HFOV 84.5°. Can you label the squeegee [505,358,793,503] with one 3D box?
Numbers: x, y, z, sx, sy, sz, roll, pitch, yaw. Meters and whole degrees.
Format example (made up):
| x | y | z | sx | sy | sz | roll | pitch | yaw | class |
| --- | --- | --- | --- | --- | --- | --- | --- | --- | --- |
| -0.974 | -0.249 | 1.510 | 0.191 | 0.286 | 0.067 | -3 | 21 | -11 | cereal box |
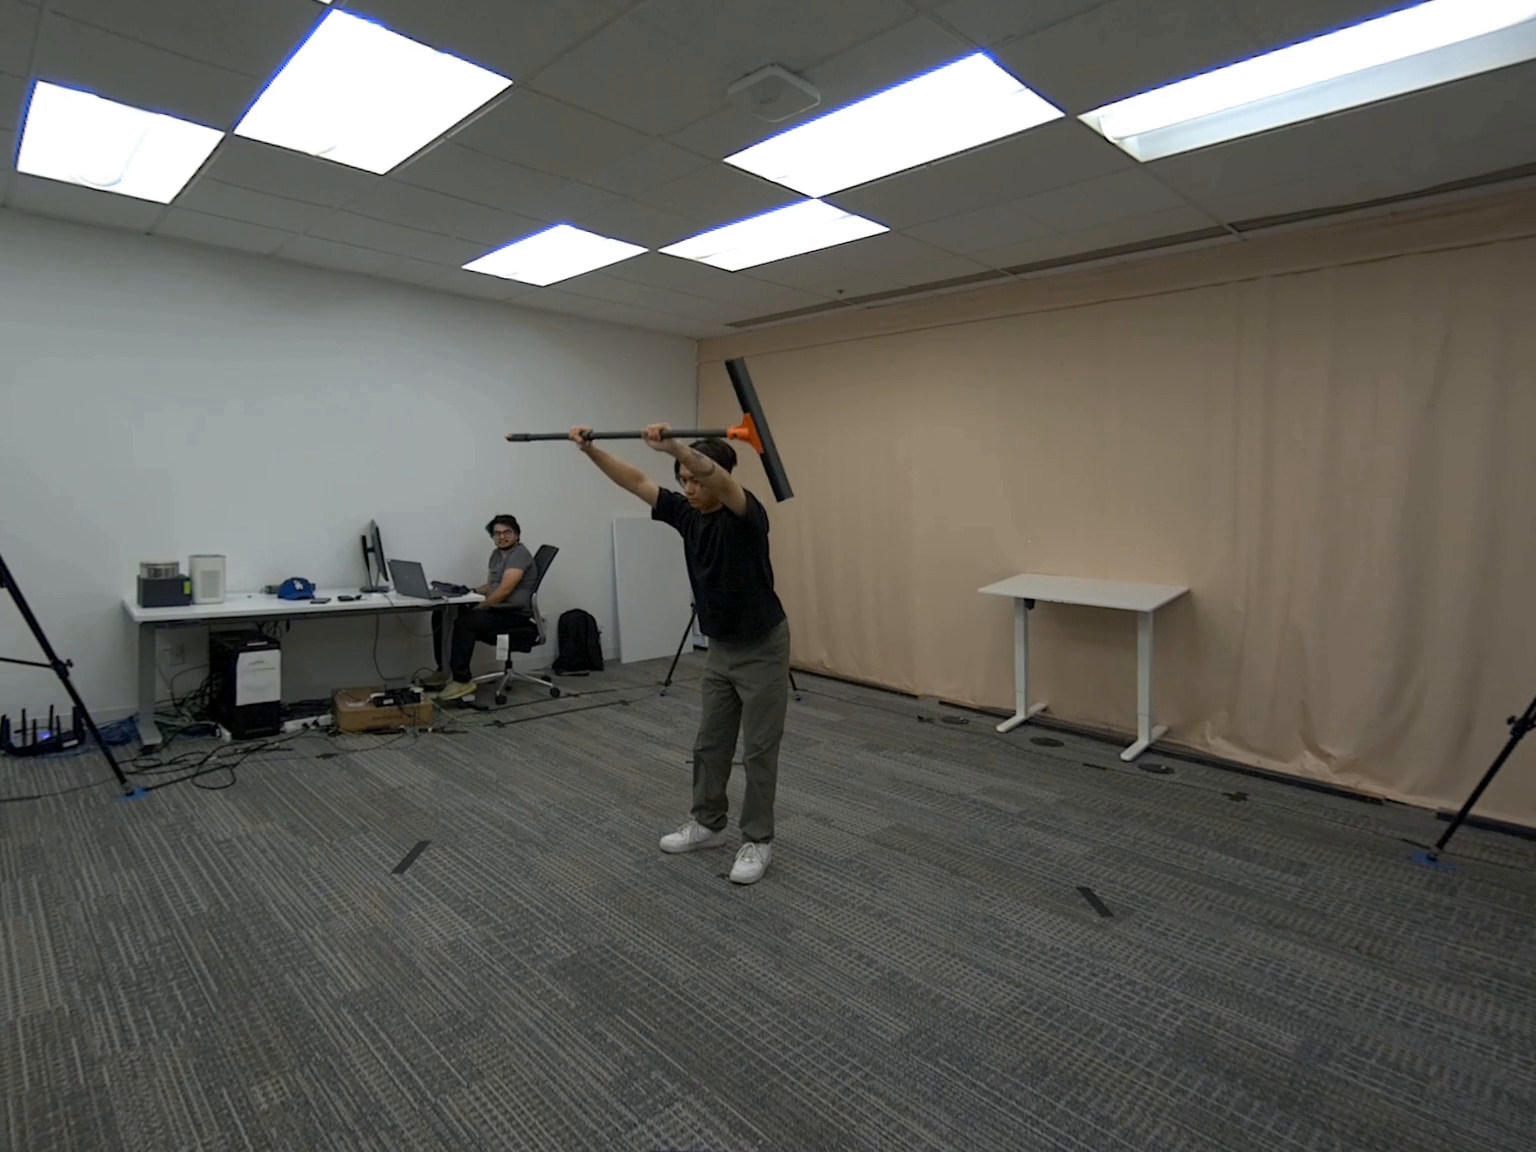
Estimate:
| x | y | z | sx | sy | sz | roll | pitch | yaw | class |
| --- | --- | --- | --- | --- | --- | --- | --- | --- | --- |
| -0.543 | -0.474 | 2.888 | 0.052 | 0.429 | 1.578 | -35 | 28 | -33 | squeegee |
